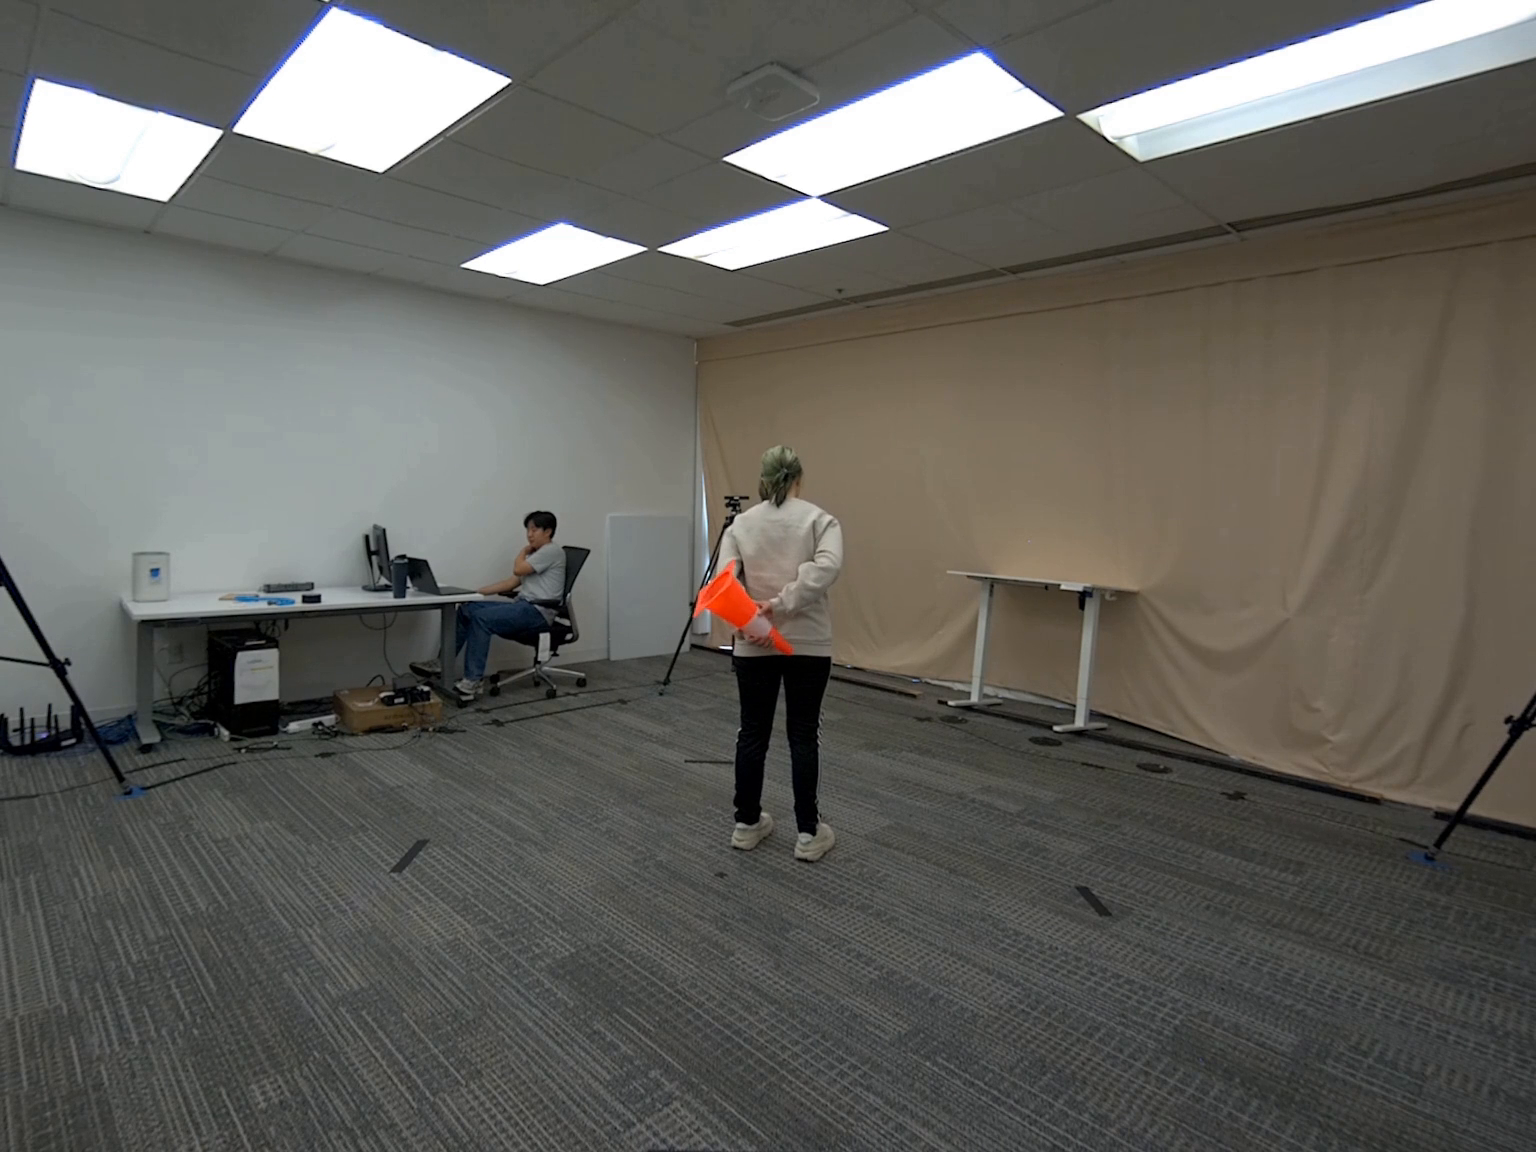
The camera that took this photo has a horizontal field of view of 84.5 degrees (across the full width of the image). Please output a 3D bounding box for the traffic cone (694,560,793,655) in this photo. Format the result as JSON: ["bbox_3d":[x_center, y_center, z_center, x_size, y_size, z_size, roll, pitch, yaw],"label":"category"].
[{"bbox_3d":[-0.076,0.169,3.059,0.205,0.380,0.205,-42,11,26],"label":"traffic cone"}]
